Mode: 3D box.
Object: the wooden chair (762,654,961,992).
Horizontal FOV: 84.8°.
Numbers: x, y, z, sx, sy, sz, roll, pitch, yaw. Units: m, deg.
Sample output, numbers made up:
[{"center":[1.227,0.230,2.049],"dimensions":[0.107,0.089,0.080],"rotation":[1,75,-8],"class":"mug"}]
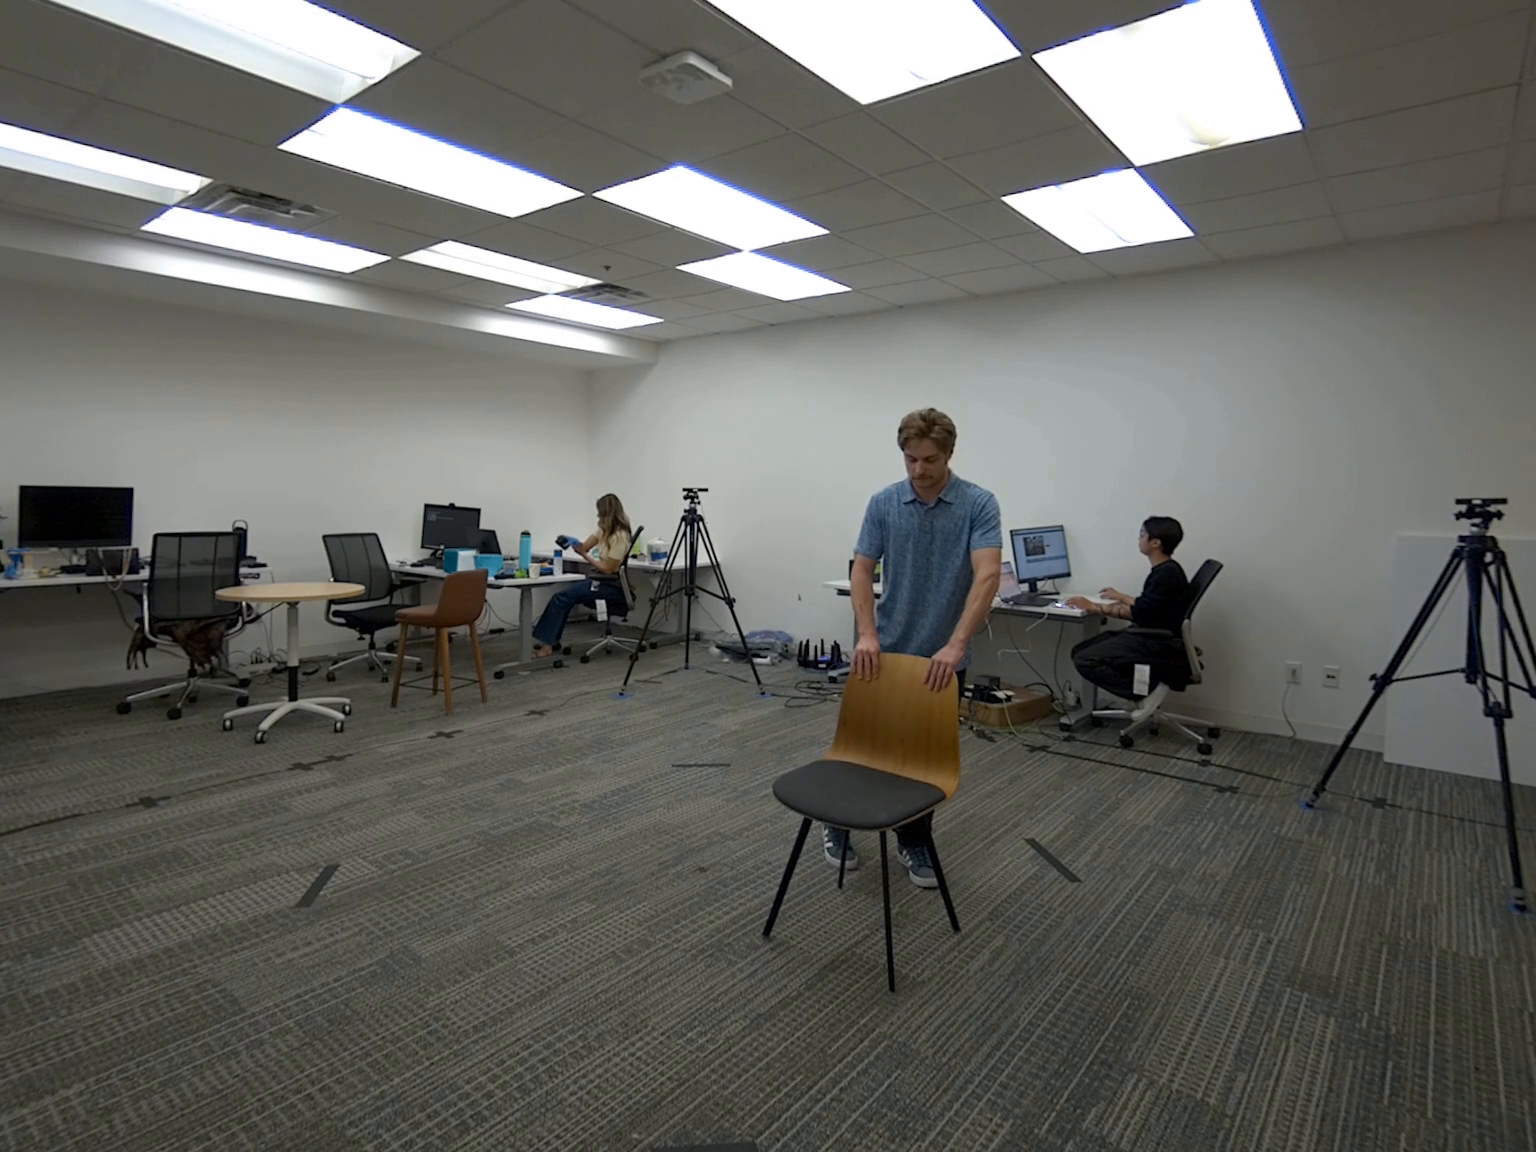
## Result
[{"center":[0.298,0.696,2.649],"dimensions":[0.494,0.878,0.506],"rotation":[4,0,38],"class":"wooden chair"}]
